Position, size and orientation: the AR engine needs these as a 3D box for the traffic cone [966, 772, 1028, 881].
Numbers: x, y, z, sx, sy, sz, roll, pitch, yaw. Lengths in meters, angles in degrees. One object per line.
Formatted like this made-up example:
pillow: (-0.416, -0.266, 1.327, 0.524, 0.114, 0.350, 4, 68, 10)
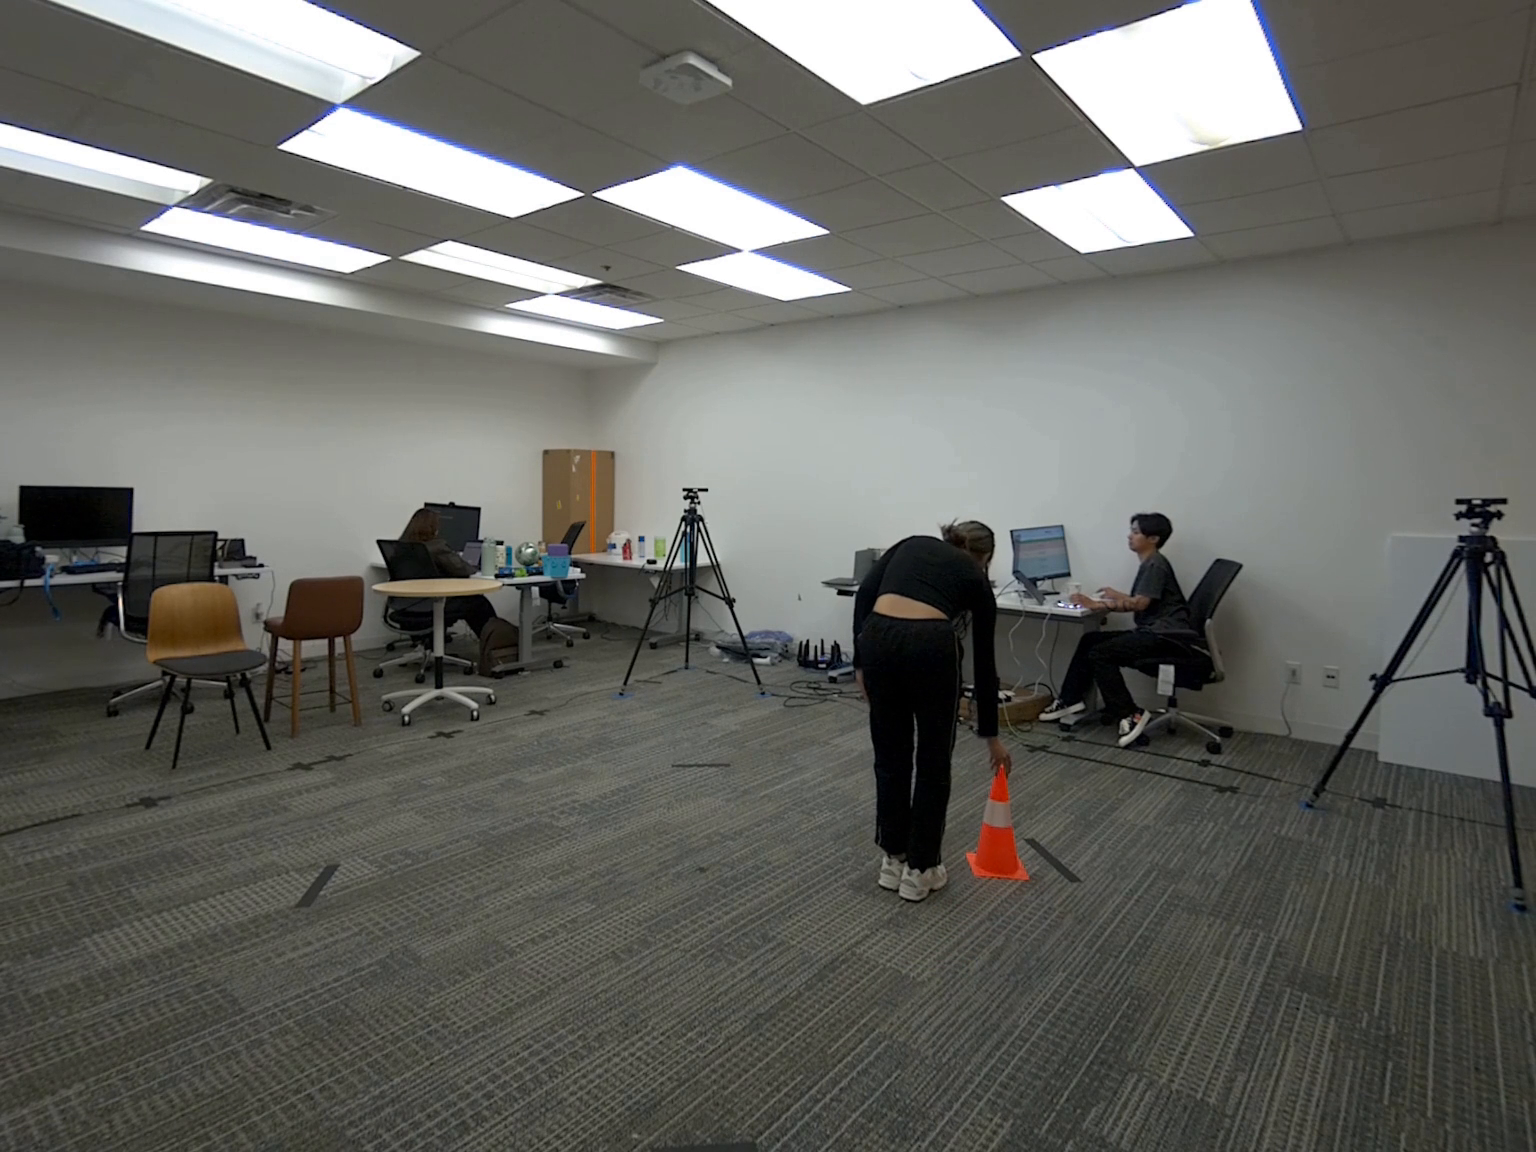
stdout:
traffic cone: (0.856, 0.899, 3.186, 0.206, 0.382, 0.203, 2, 5, 3)
